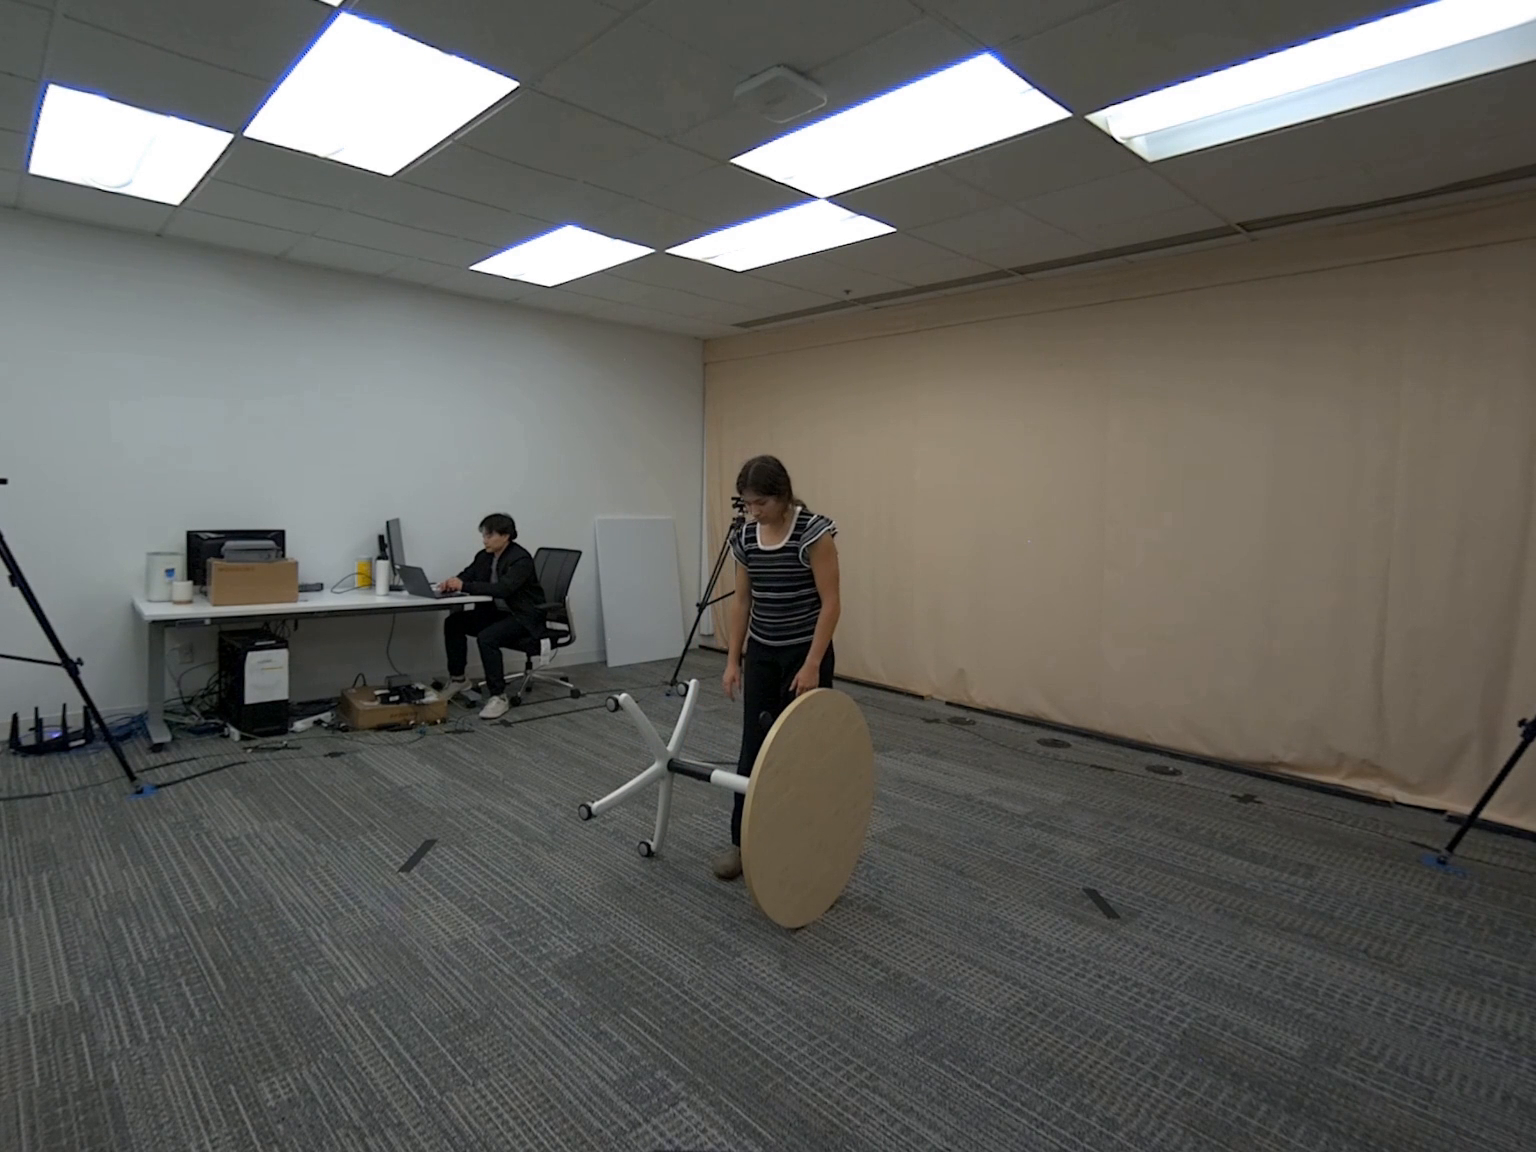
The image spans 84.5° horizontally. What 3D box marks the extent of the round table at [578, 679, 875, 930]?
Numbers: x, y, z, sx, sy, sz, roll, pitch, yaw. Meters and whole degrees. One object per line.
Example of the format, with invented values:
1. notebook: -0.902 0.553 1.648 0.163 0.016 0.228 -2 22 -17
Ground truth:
1. round table: -0.163 0.742 3.023 0.813 0.762 0.747 2 4 38
